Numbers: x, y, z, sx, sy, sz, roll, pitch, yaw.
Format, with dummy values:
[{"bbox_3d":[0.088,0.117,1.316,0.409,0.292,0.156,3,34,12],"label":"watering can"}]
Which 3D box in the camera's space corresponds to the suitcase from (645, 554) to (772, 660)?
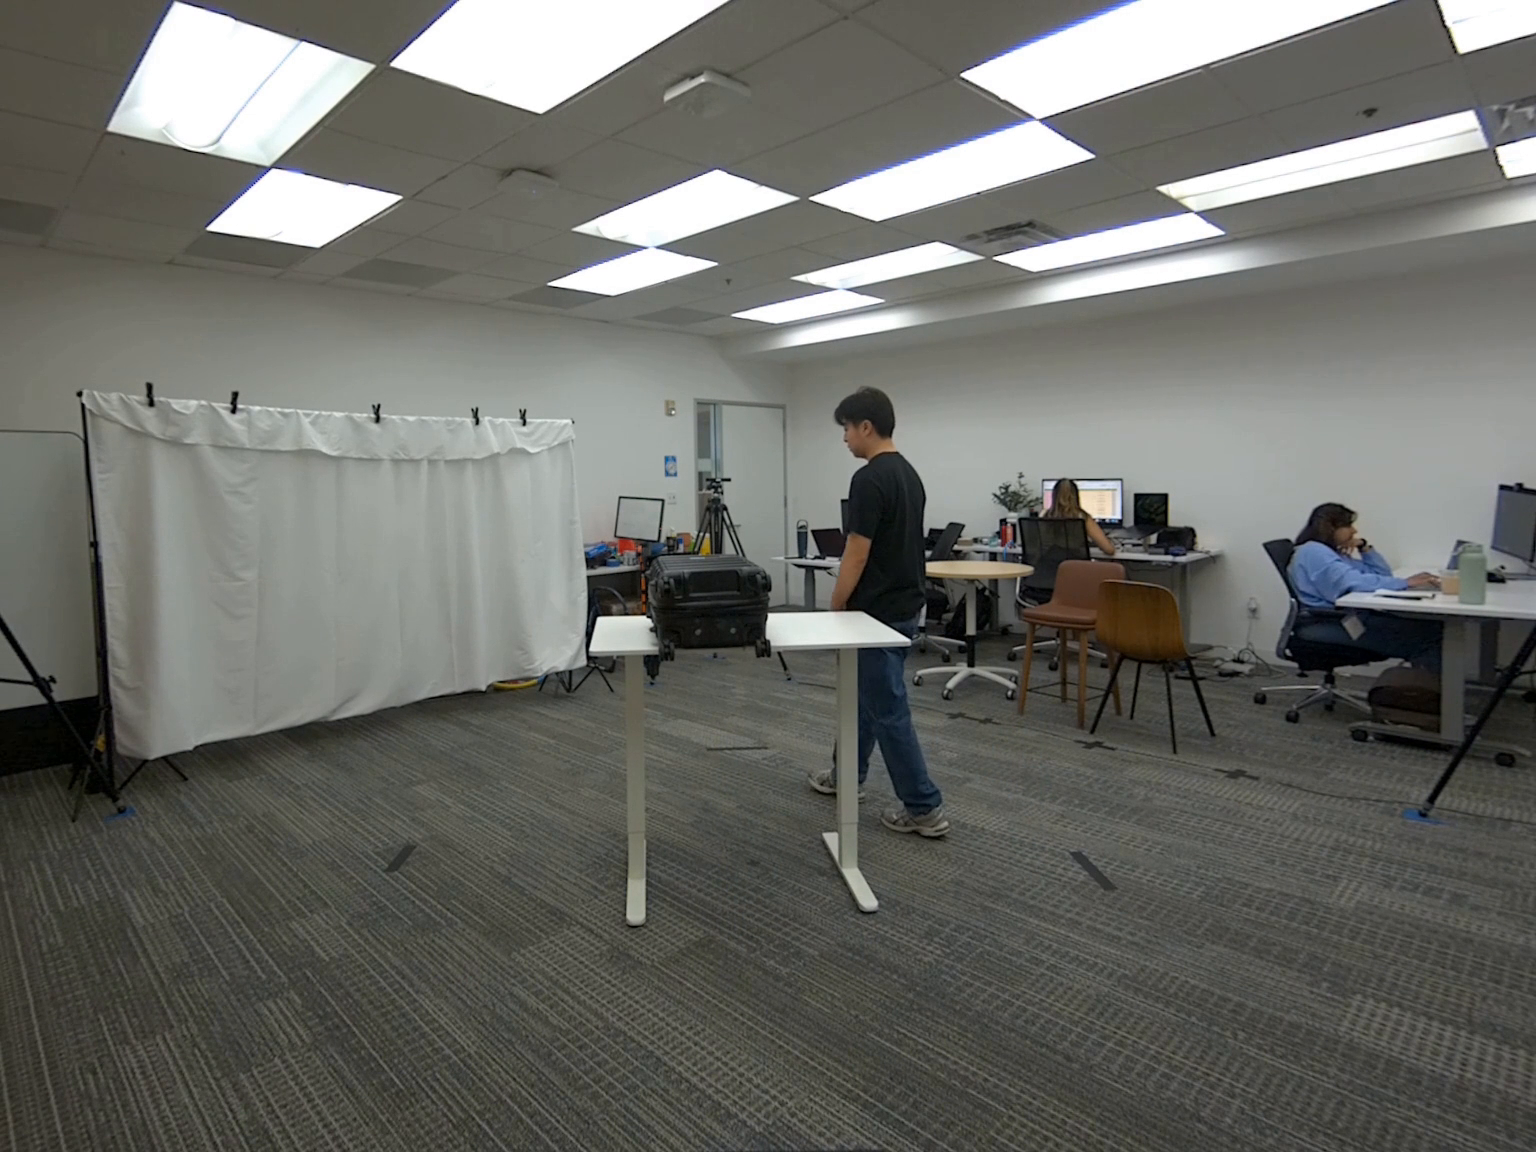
[{"bbox_3d":[-0.246,0.050,2.996,0.380,0.255,0.995,-3,9,-12],"label":"suitcase"}]
